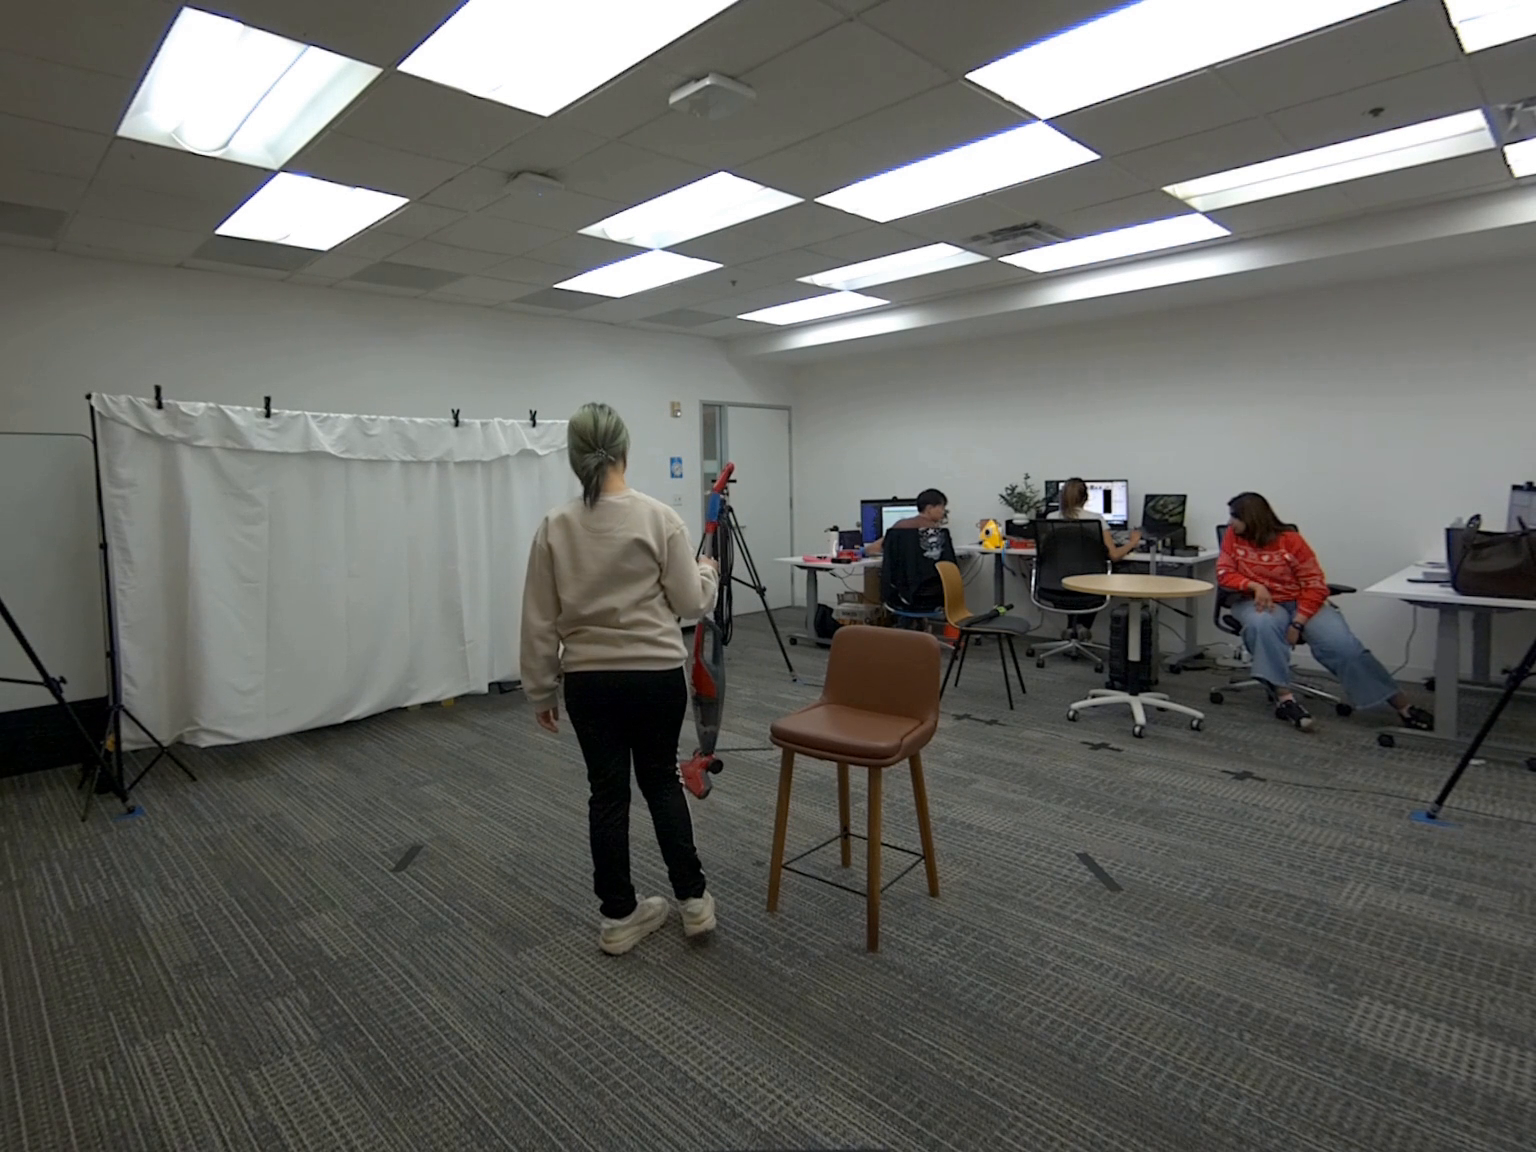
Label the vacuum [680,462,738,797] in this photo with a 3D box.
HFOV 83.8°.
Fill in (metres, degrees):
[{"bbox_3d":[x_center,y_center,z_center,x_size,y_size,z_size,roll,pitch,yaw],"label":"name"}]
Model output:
[{"bbox_3d":[-0.183,0.150,2.881,0.140,1.048,0.260,5,2,-30],"label":"vacuum"}]
